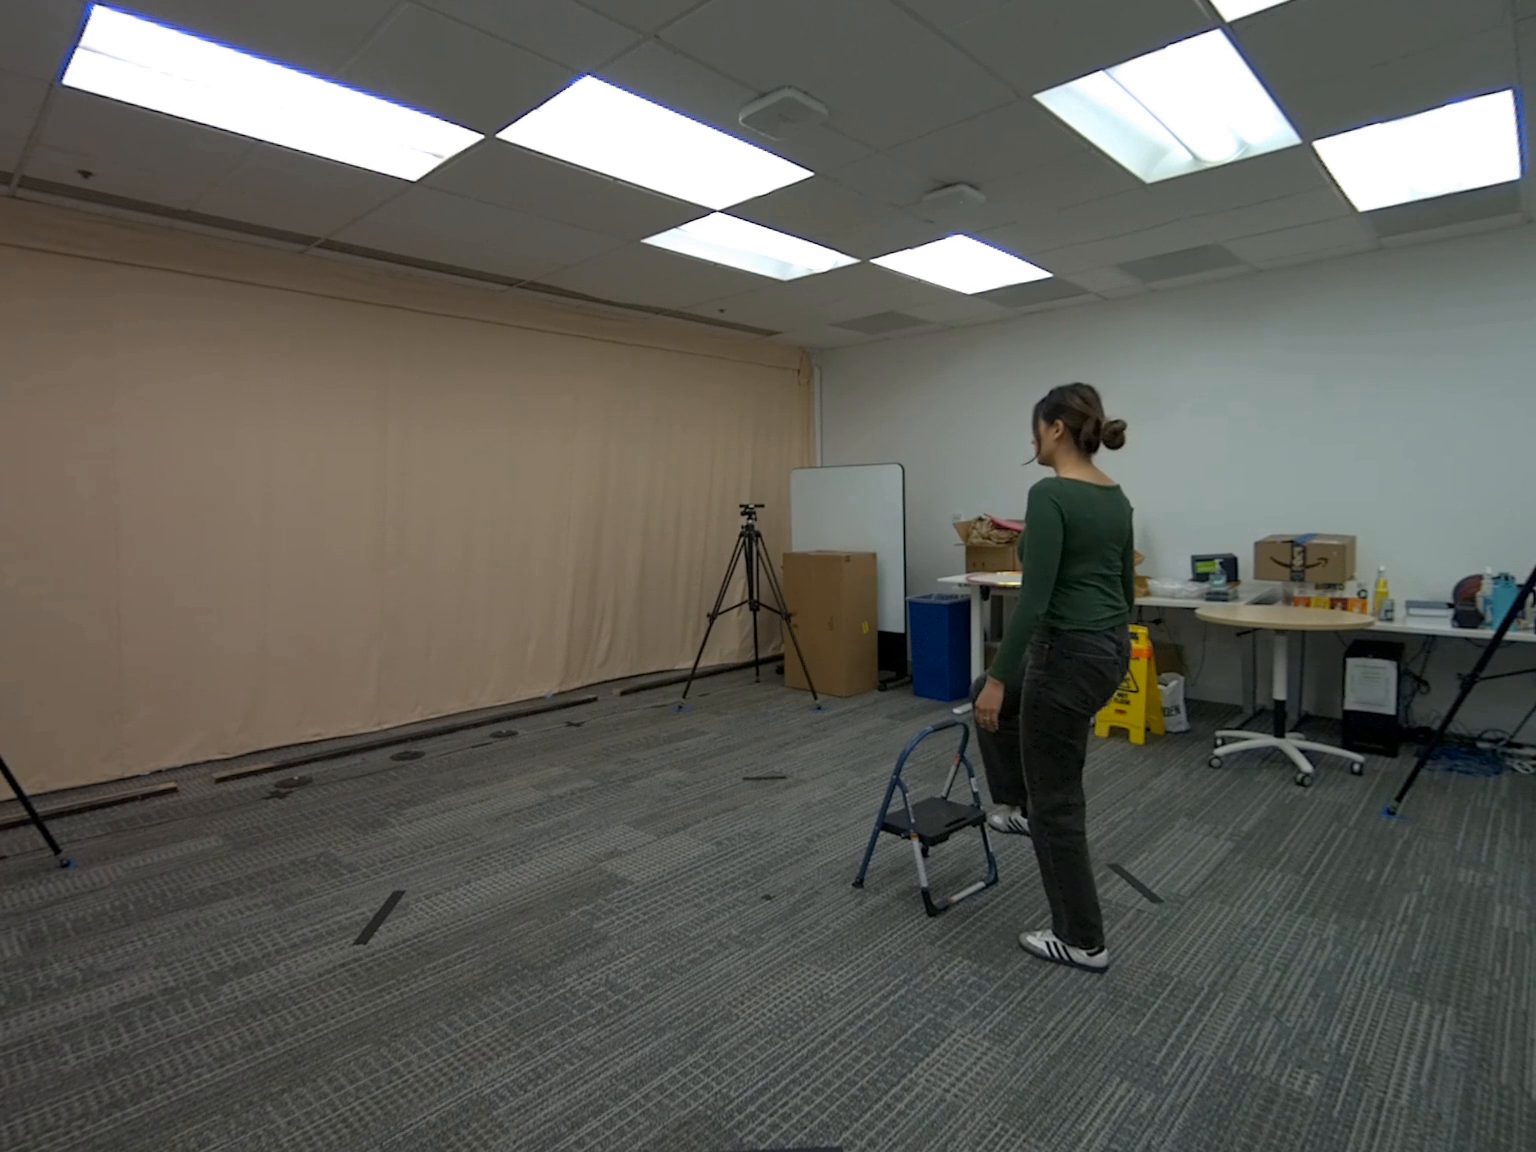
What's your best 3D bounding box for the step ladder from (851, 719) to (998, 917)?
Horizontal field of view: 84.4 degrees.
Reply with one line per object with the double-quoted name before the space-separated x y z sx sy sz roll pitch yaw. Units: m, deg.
"step ladder" 0.578 0.818 3.054 0.417 0.604 0.361 -4 5 -43
